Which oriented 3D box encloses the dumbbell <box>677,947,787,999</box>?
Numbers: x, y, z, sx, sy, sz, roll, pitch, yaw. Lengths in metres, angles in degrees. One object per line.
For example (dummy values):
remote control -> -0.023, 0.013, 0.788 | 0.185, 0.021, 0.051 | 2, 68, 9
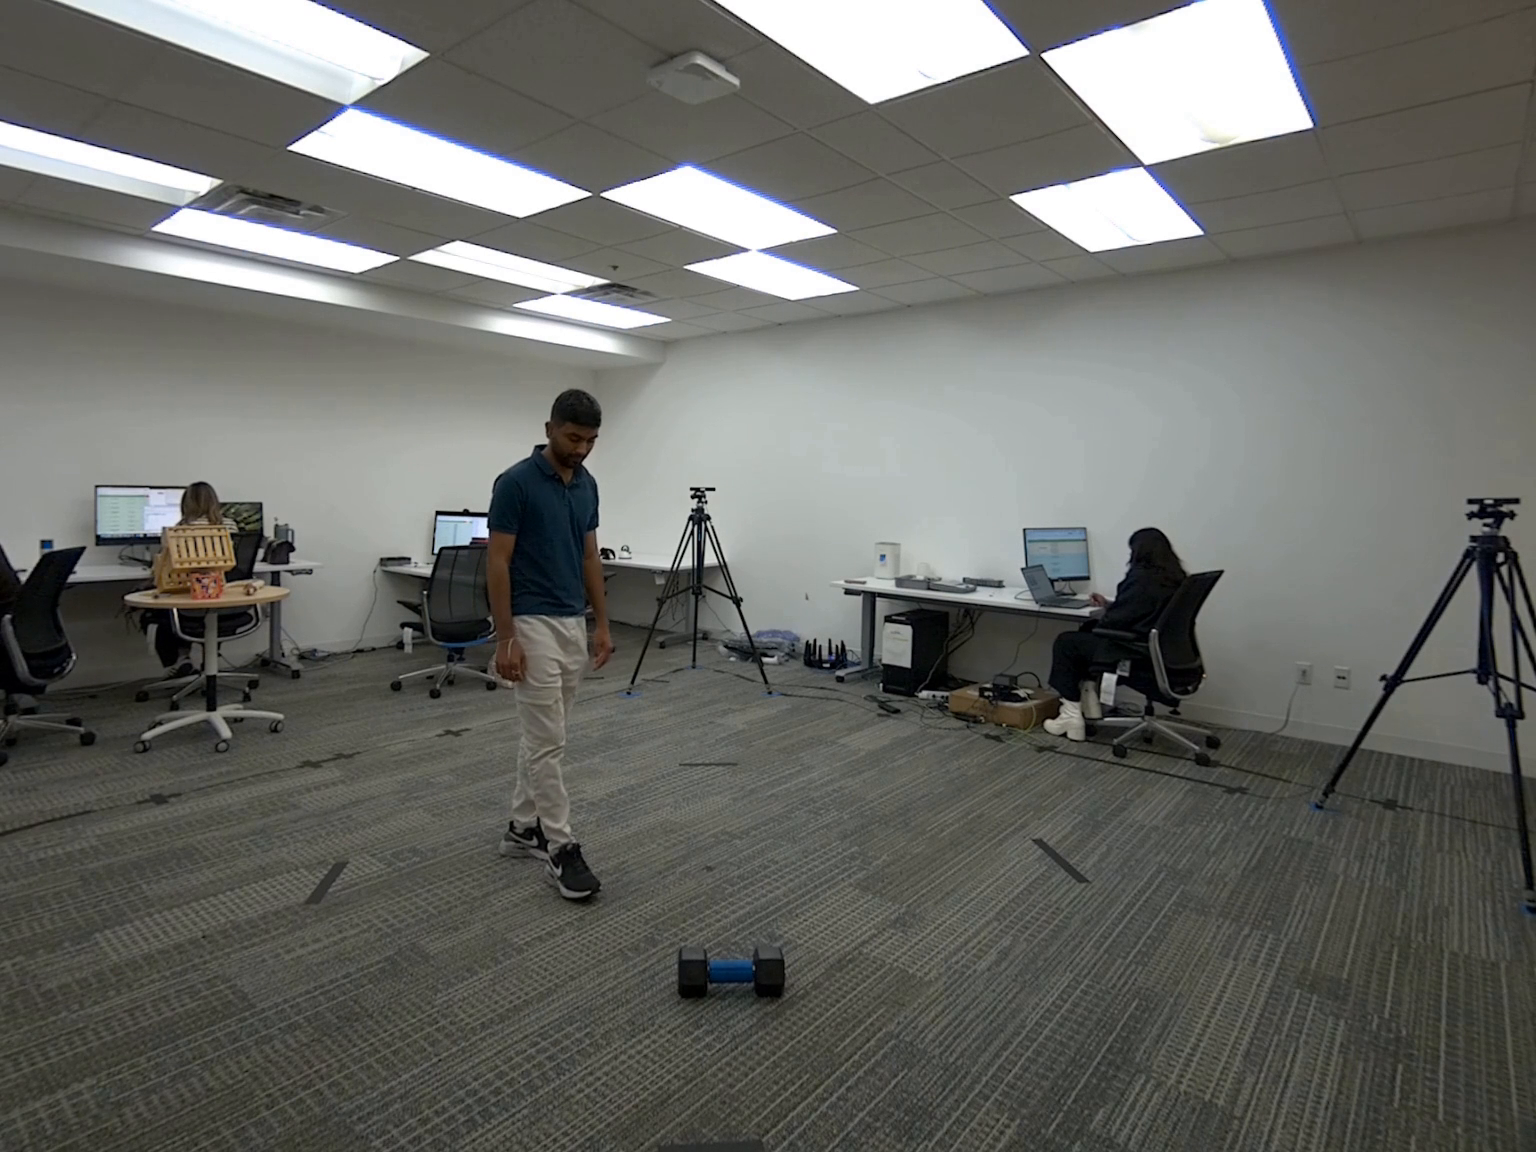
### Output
dumbbell -> -0.104, 1.092, 2.351 | 0.292, 0.120, 0.112 | 1, 33, -4
